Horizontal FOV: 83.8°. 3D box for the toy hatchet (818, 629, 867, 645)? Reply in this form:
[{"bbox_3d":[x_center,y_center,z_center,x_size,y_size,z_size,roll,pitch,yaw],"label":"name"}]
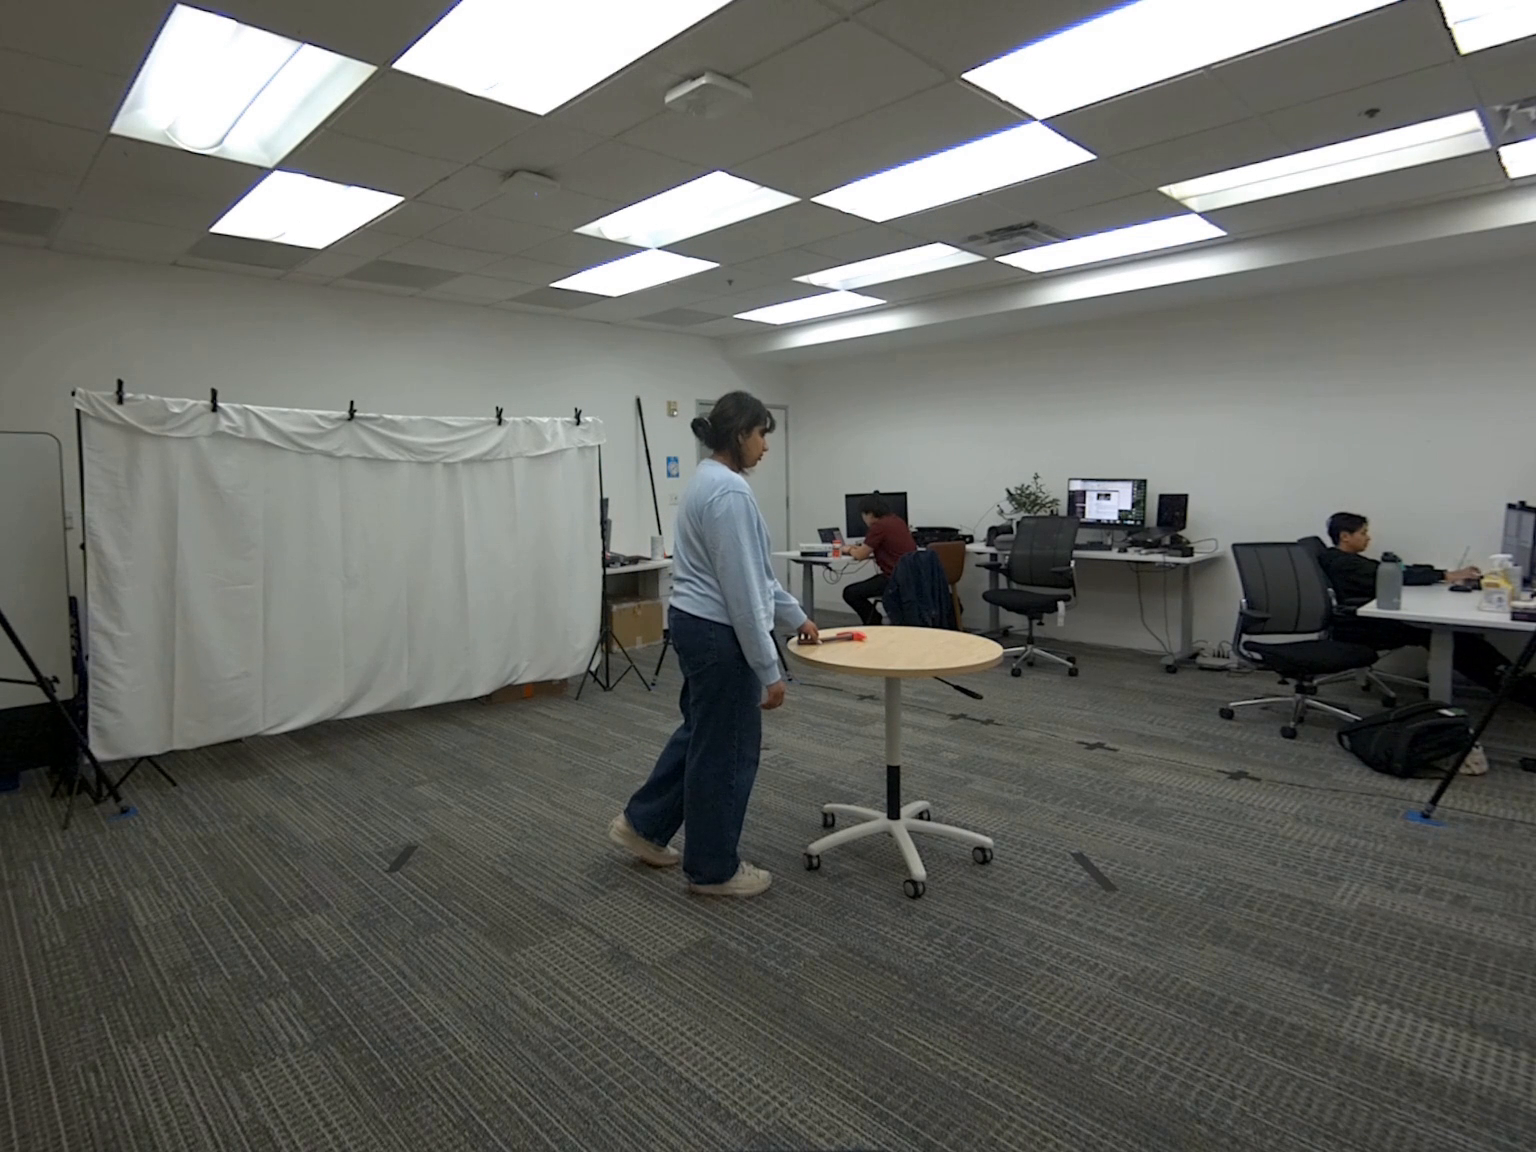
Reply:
[{"bbox_3d":[0.229,0.230,3.218,0.268,0.029,0.133,-3,8,-9],"label":"toy hatchet"}]
